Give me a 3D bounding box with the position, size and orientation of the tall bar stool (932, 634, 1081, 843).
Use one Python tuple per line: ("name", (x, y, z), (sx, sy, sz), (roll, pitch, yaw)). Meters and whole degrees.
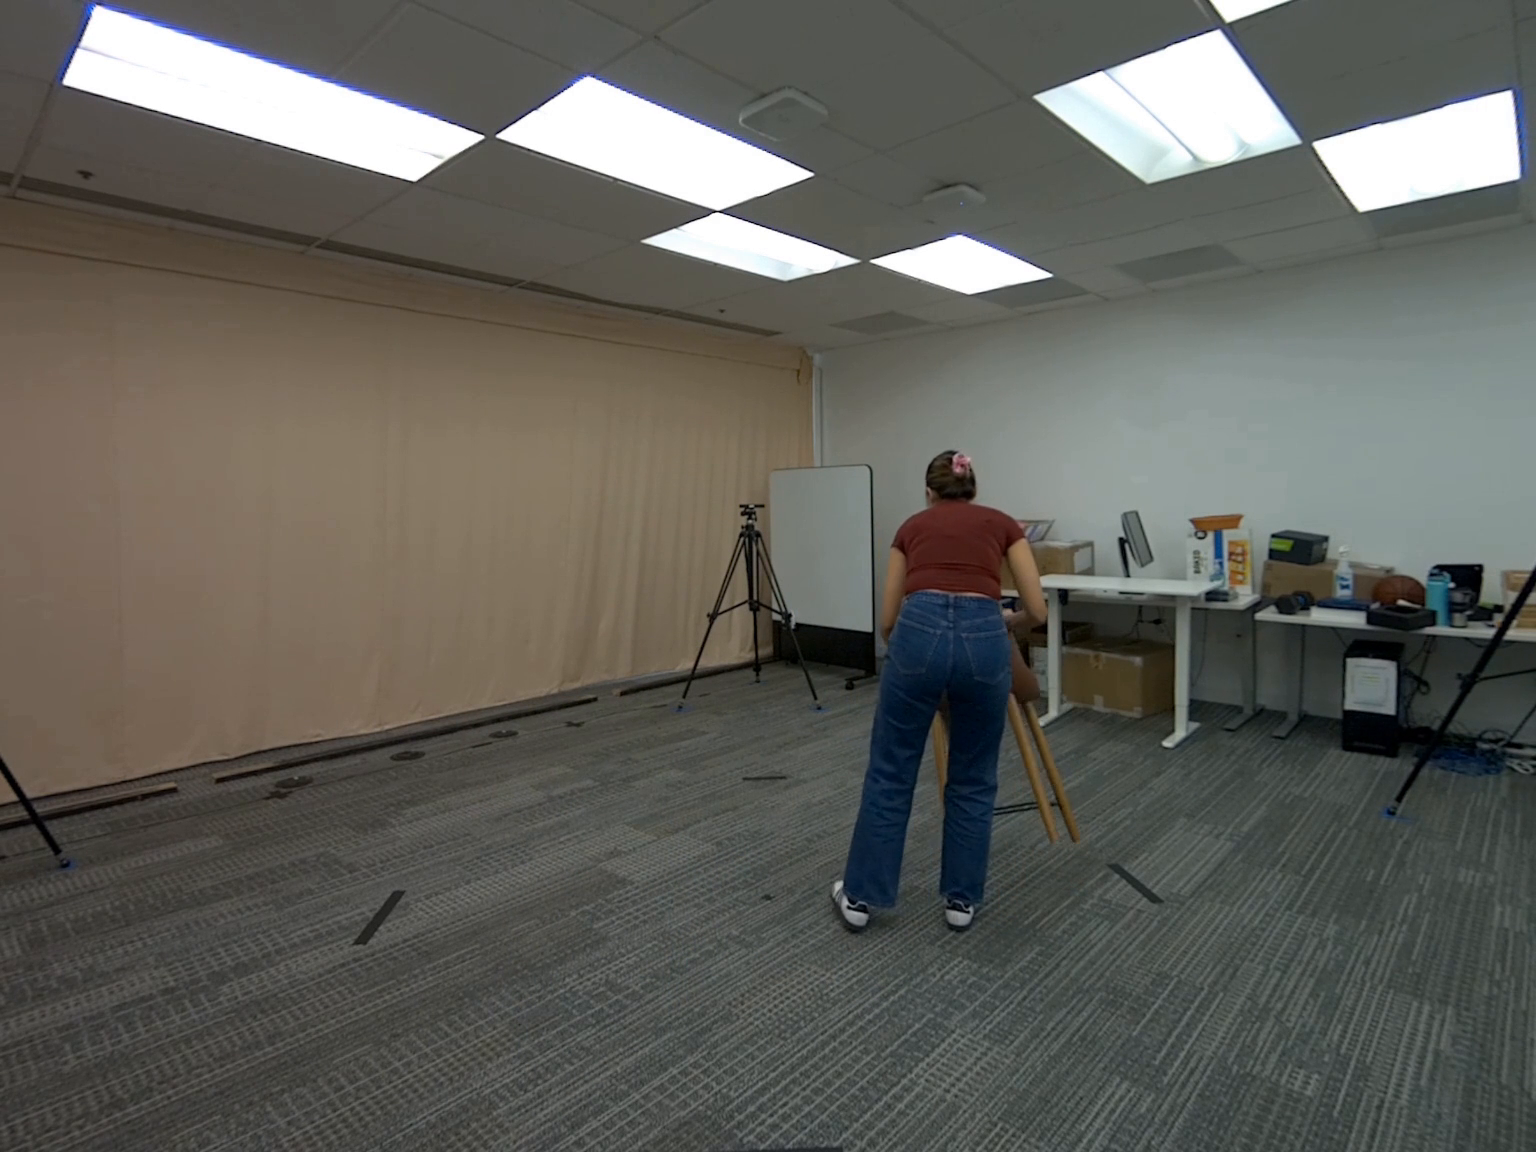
("tall bar stool", (0.826, 0.588, 3.193), (0.464, 0.904, 0.452), (-19, -22, 23))
